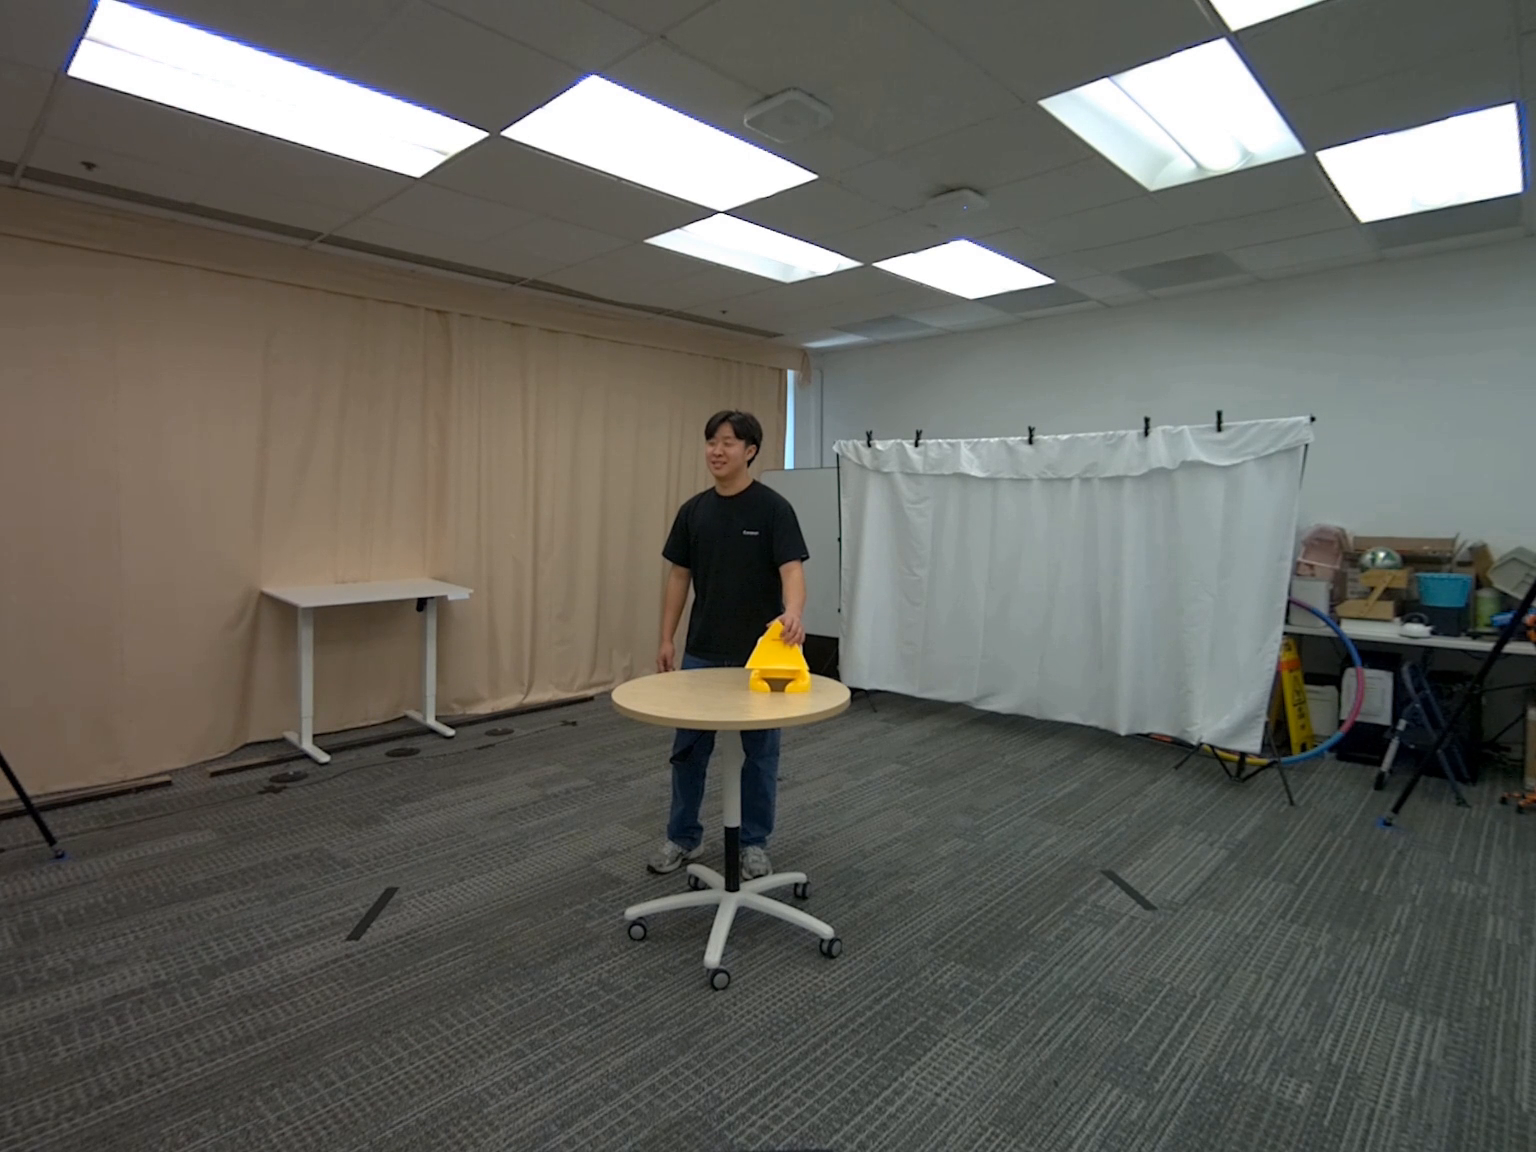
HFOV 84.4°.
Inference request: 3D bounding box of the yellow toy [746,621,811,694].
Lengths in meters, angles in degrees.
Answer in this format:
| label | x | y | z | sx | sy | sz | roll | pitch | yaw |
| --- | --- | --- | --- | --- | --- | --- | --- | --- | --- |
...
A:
| label | x | y | z | sx | sy | sz | roll | pitch | yaw |
| --- | --- | --- | --- | --- | --- | --- | --- | --- | --- |
| yellow toy | 0.038 | 0.252 | 2.757 | 0.207 | 0.230 | 0.191 | 1 | 4 | 9 |
